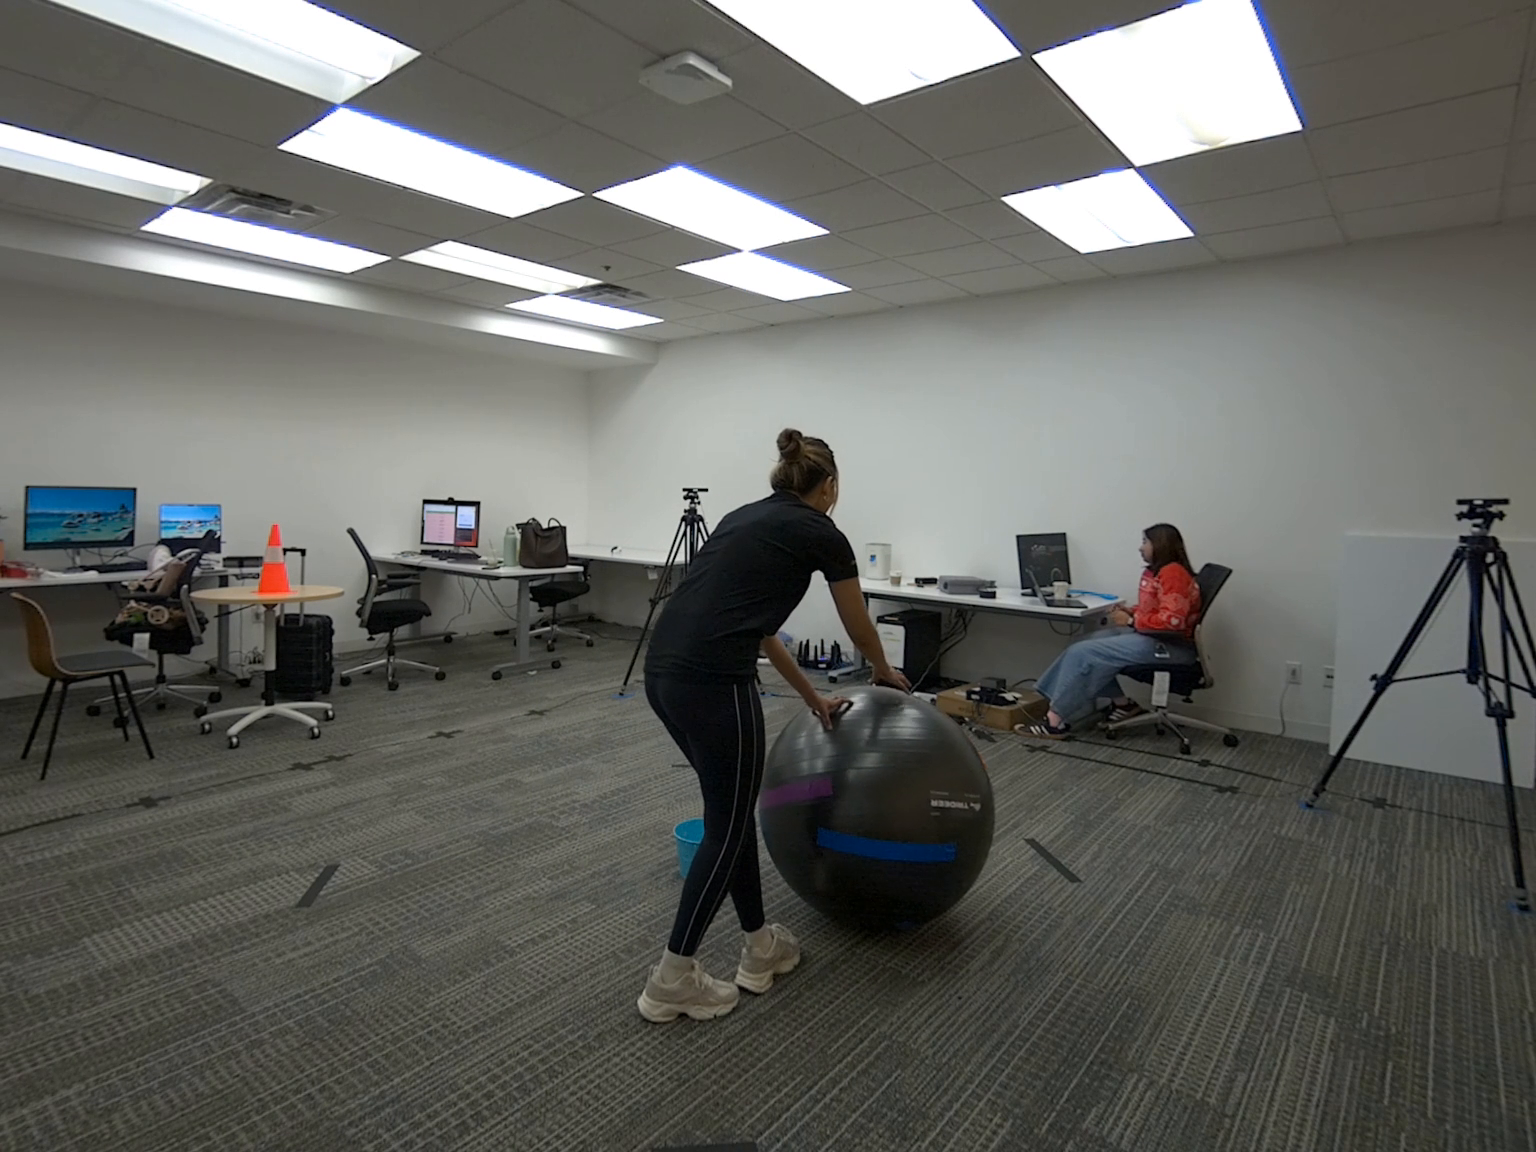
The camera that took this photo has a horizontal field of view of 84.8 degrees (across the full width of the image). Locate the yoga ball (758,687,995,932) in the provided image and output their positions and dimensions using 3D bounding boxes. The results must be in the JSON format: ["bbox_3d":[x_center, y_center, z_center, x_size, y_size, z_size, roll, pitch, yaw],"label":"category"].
[{"bbox_3d":[0.345,0.746,2.795,0.757,0.755,0.762,1,4,-2],"label":"yoga ball"}]
